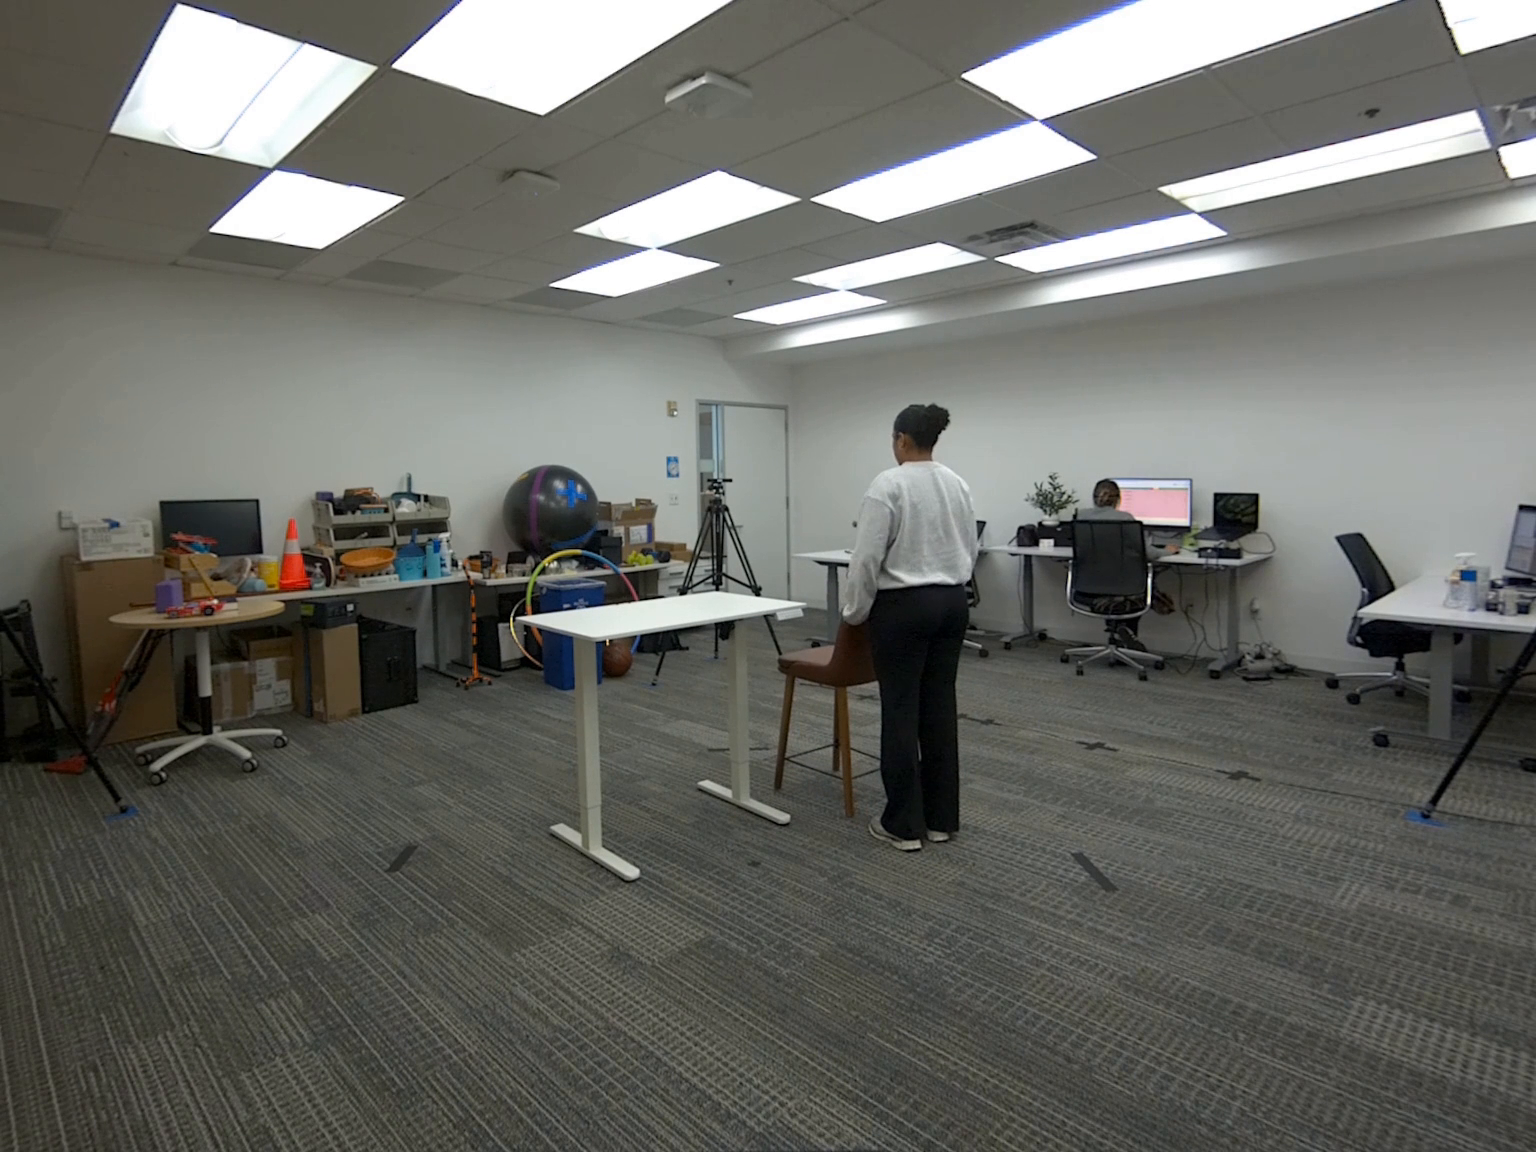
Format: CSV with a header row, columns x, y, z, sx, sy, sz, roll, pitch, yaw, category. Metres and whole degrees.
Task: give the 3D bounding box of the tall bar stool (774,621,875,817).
x,y,z,sx,sy,sz,roll,pitch,yaw,category
0.333,0.528,3.767,0.444,0.885,0.483,-4,7,-41,tall bar stool
